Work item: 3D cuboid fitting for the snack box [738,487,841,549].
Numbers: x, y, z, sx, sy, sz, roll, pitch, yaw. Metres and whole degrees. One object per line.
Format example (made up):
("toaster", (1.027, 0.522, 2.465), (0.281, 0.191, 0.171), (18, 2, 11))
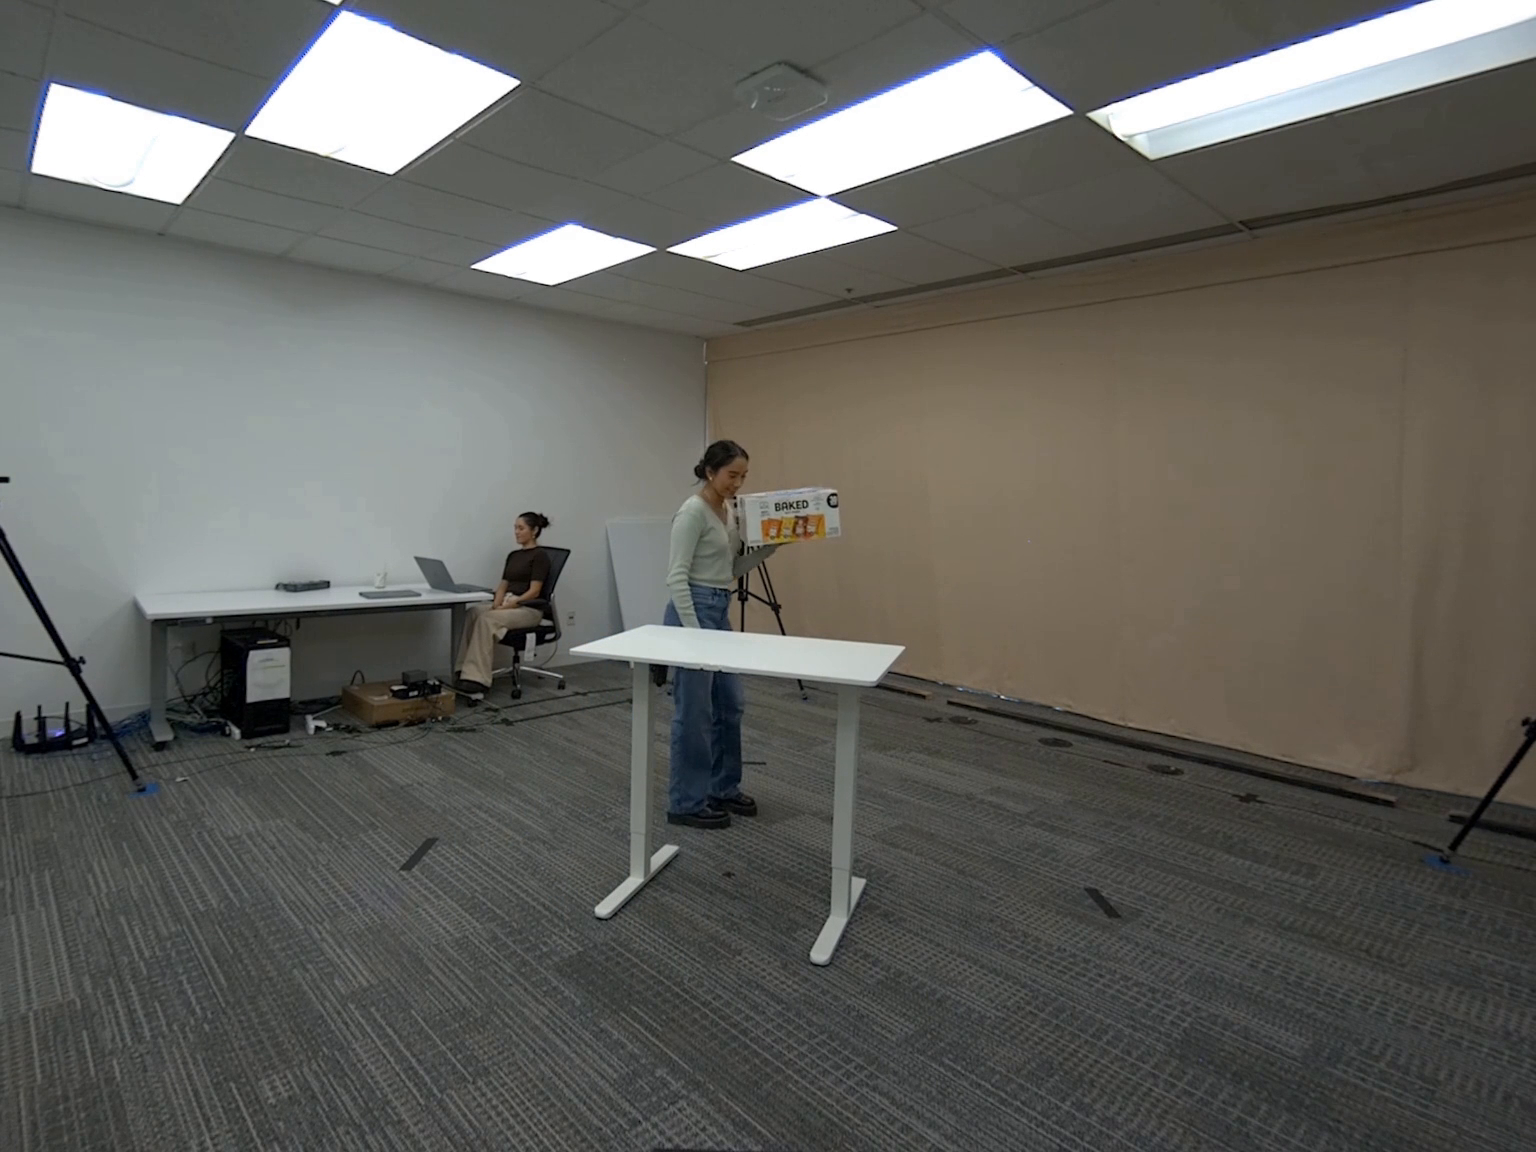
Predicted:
("snack box", (0.072, -0.278, 3.774), (0.403, 0.204, 0.344), (-6, 8, -7))
